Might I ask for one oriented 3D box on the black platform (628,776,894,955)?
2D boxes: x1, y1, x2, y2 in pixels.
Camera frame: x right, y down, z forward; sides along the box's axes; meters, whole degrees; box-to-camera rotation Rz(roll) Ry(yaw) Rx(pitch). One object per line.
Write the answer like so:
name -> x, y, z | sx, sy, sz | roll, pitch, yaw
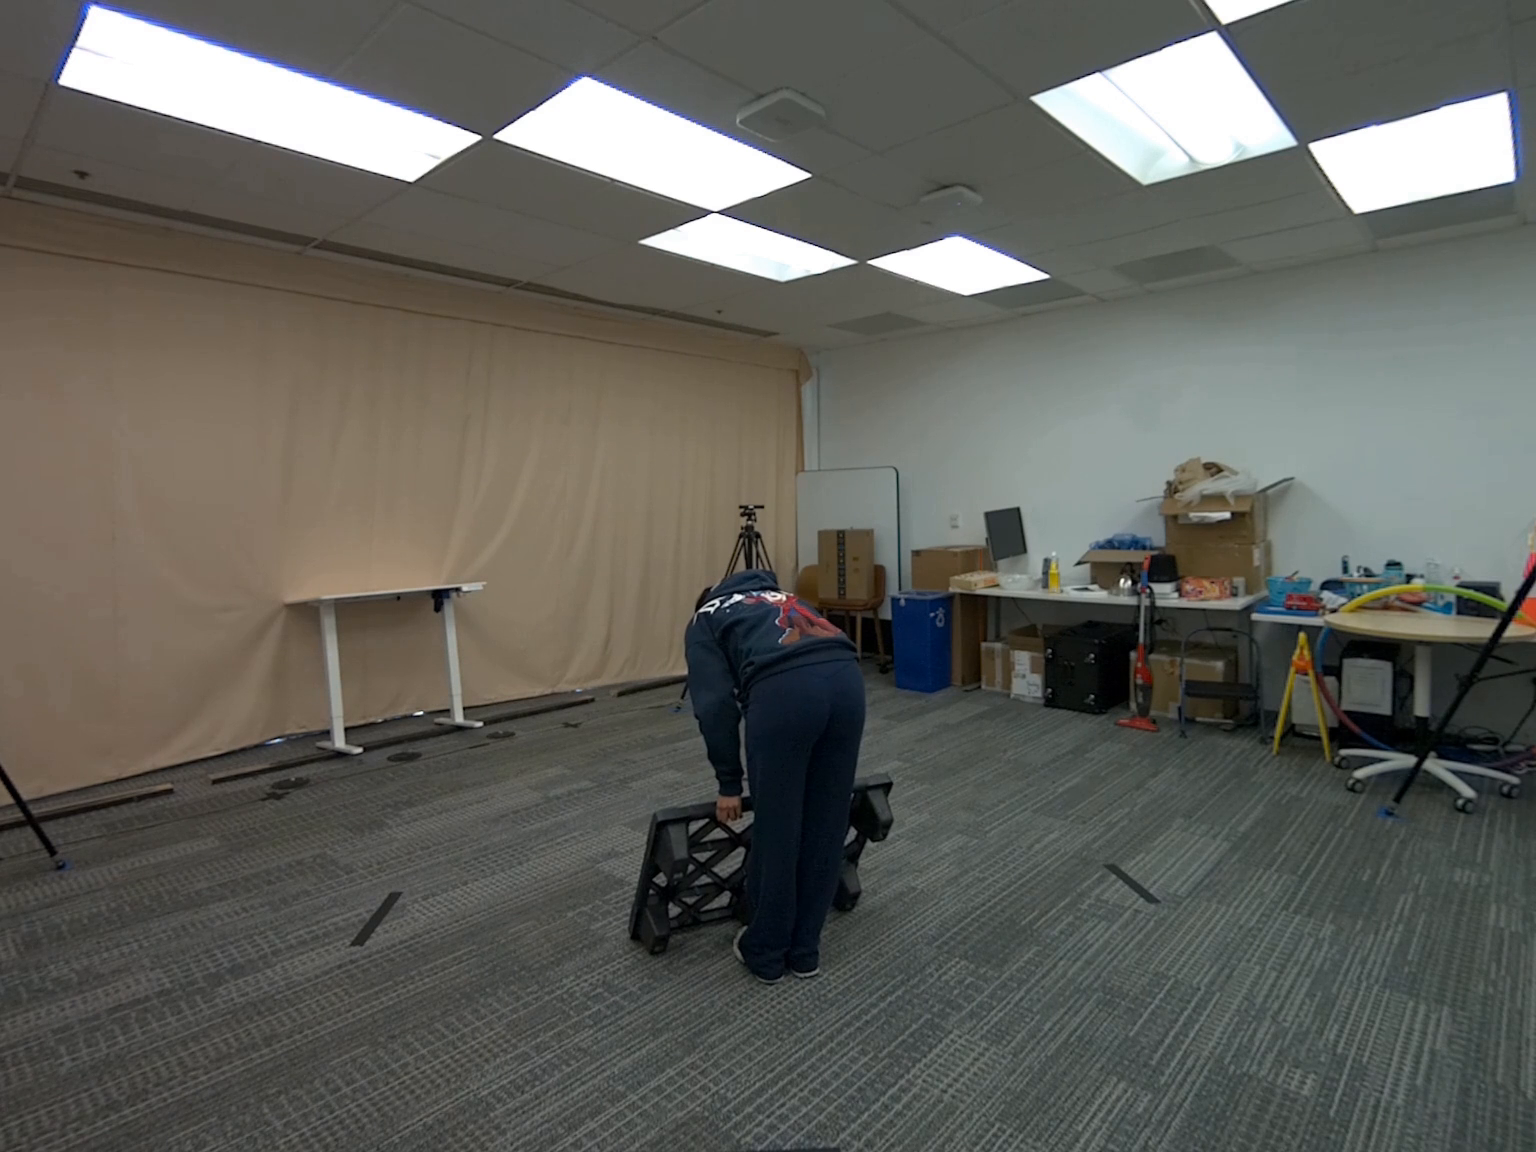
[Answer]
black platform -> -0.013, 0.936, 2.674 | 0.789, 0.598, 0.148 | -3, 35, -22
